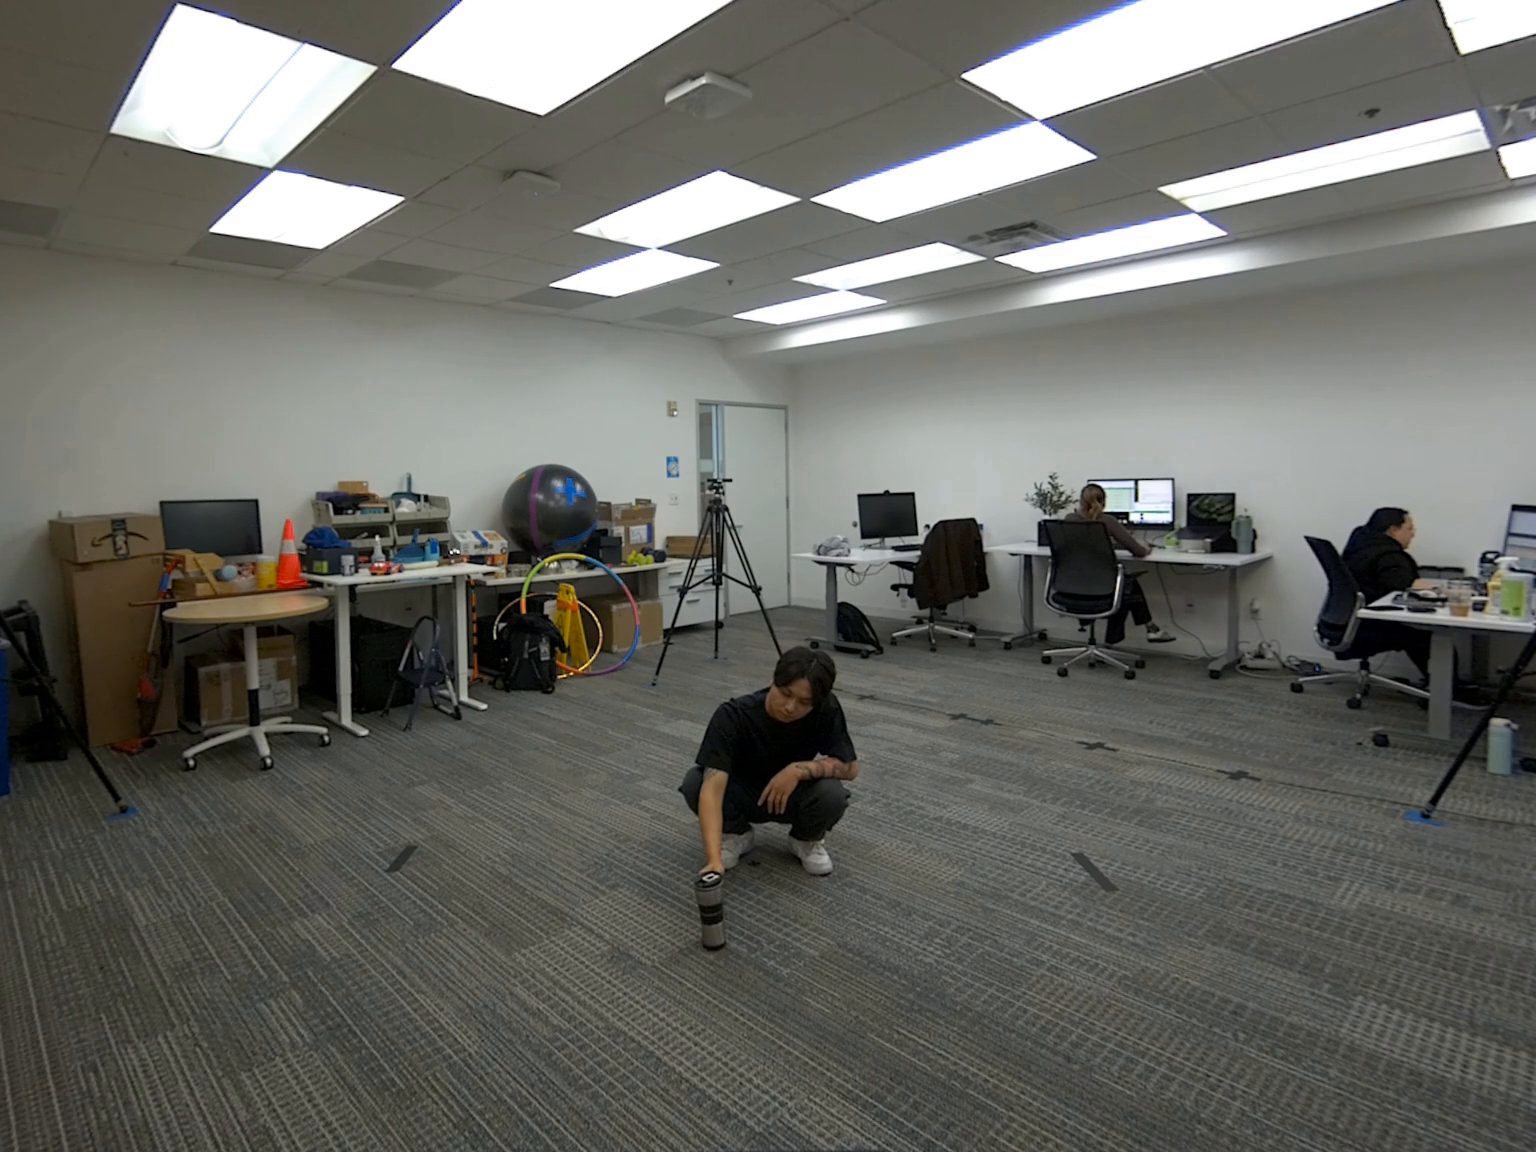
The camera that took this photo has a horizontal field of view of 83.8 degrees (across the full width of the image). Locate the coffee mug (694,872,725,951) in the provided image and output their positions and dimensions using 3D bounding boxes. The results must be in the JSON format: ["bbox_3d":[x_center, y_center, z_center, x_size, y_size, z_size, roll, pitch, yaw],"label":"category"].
[{"bbox_3d":[-0.152,1.005,2.570,0.119,0.203,0.090,-11,2,-42],"label":"coffee mug"}]
